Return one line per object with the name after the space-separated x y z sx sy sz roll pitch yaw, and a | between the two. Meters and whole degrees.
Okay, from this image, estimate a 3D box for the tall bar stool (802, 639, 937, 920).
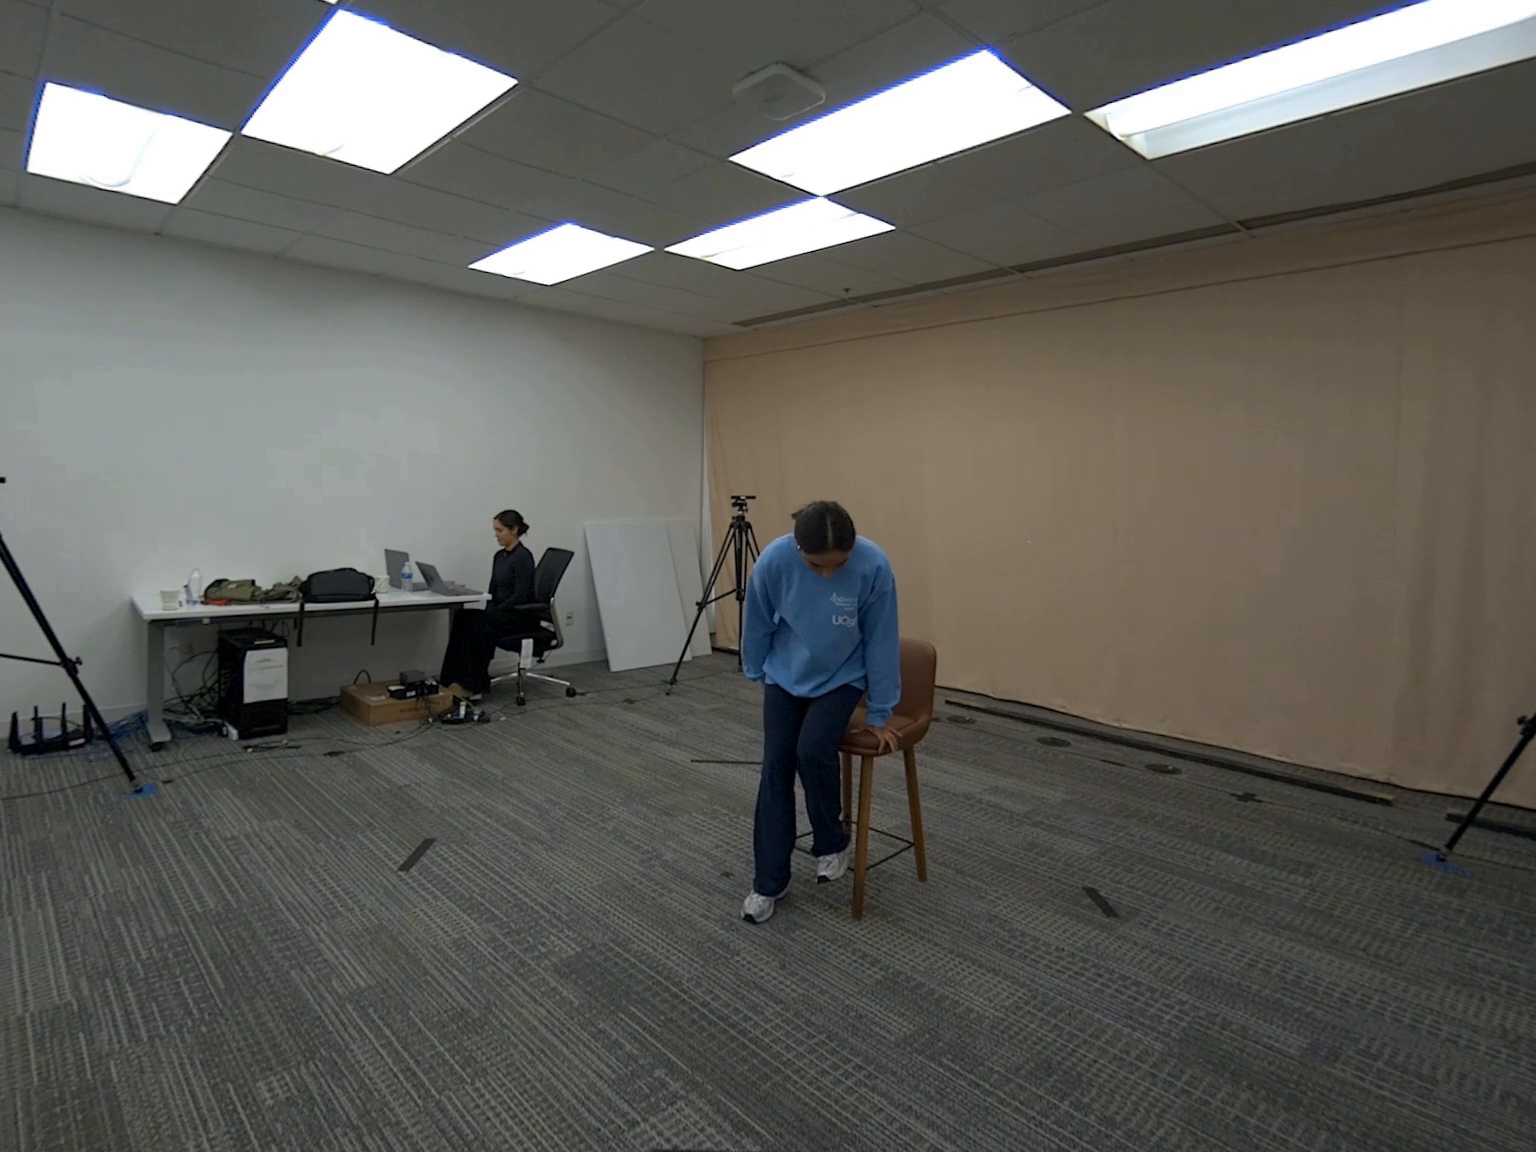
0.314 0.679 3.056 0.468 0.889 0.456 4 2 44 | tall bar stool
